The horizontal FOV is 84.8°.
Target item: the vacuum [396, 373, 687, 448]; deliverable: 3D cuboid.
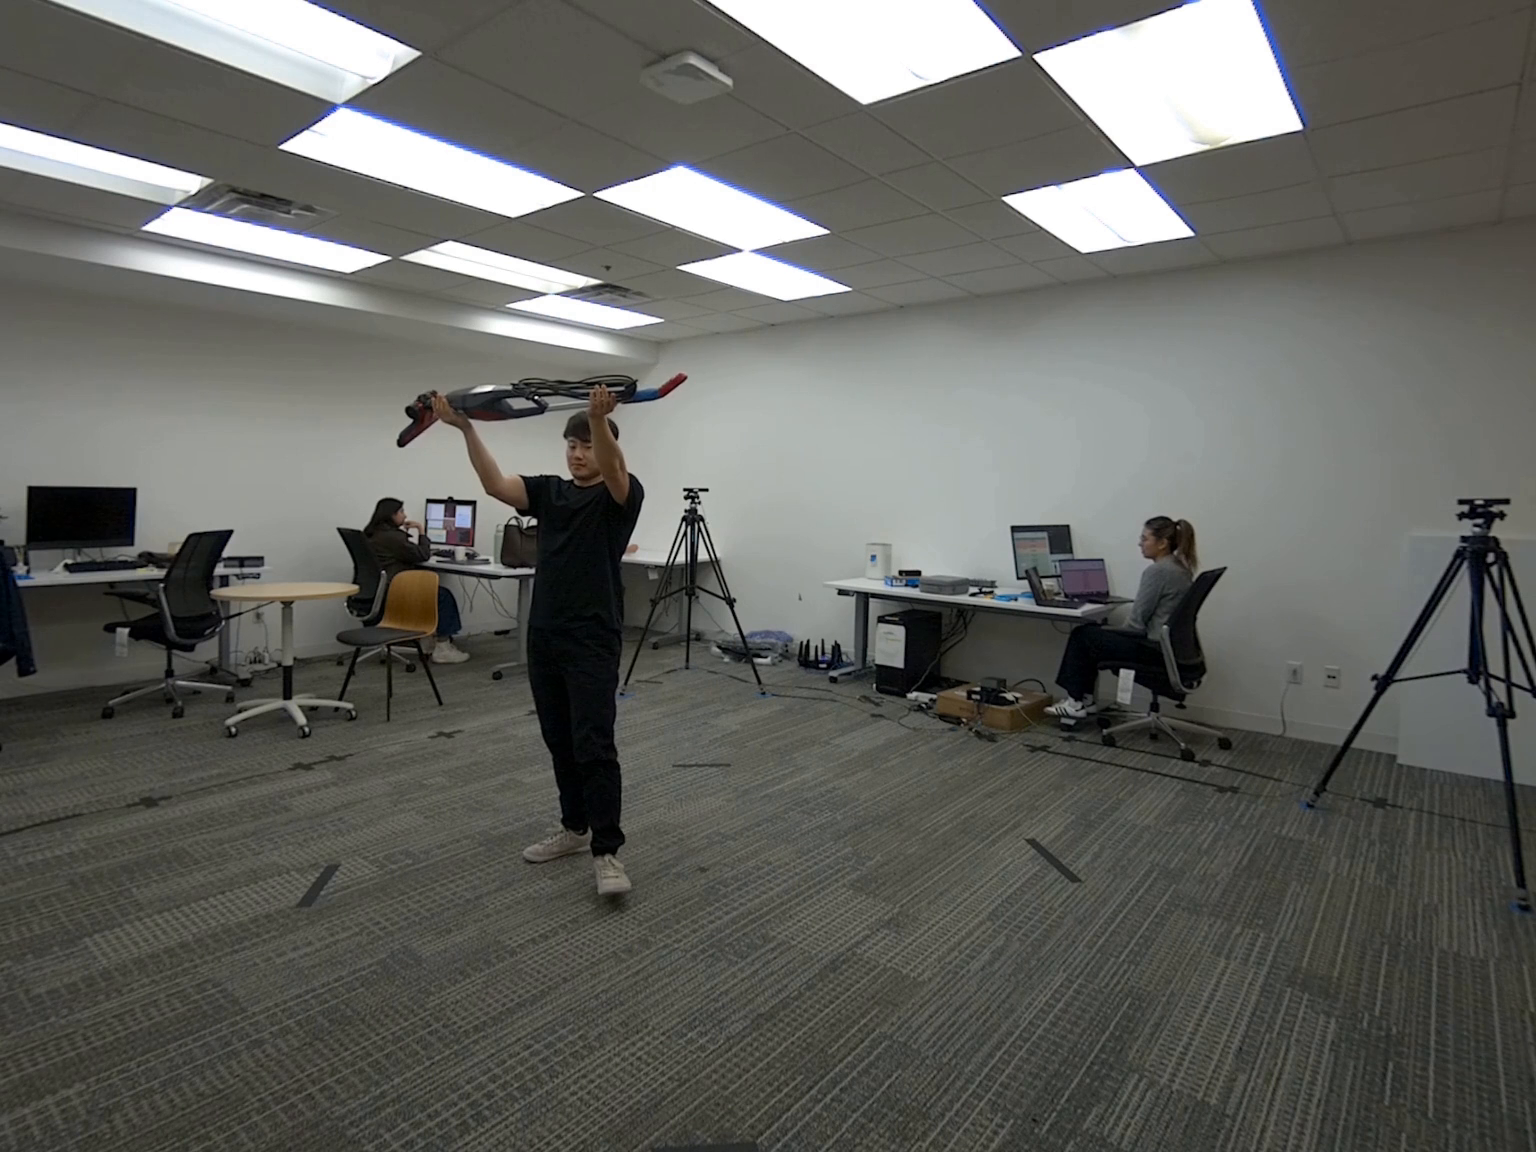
[{"bbox_3d":[-0.756,-0.585,2.755,1.073,0.139,0.254,-3,32,25],"label":"vacuum"}]
